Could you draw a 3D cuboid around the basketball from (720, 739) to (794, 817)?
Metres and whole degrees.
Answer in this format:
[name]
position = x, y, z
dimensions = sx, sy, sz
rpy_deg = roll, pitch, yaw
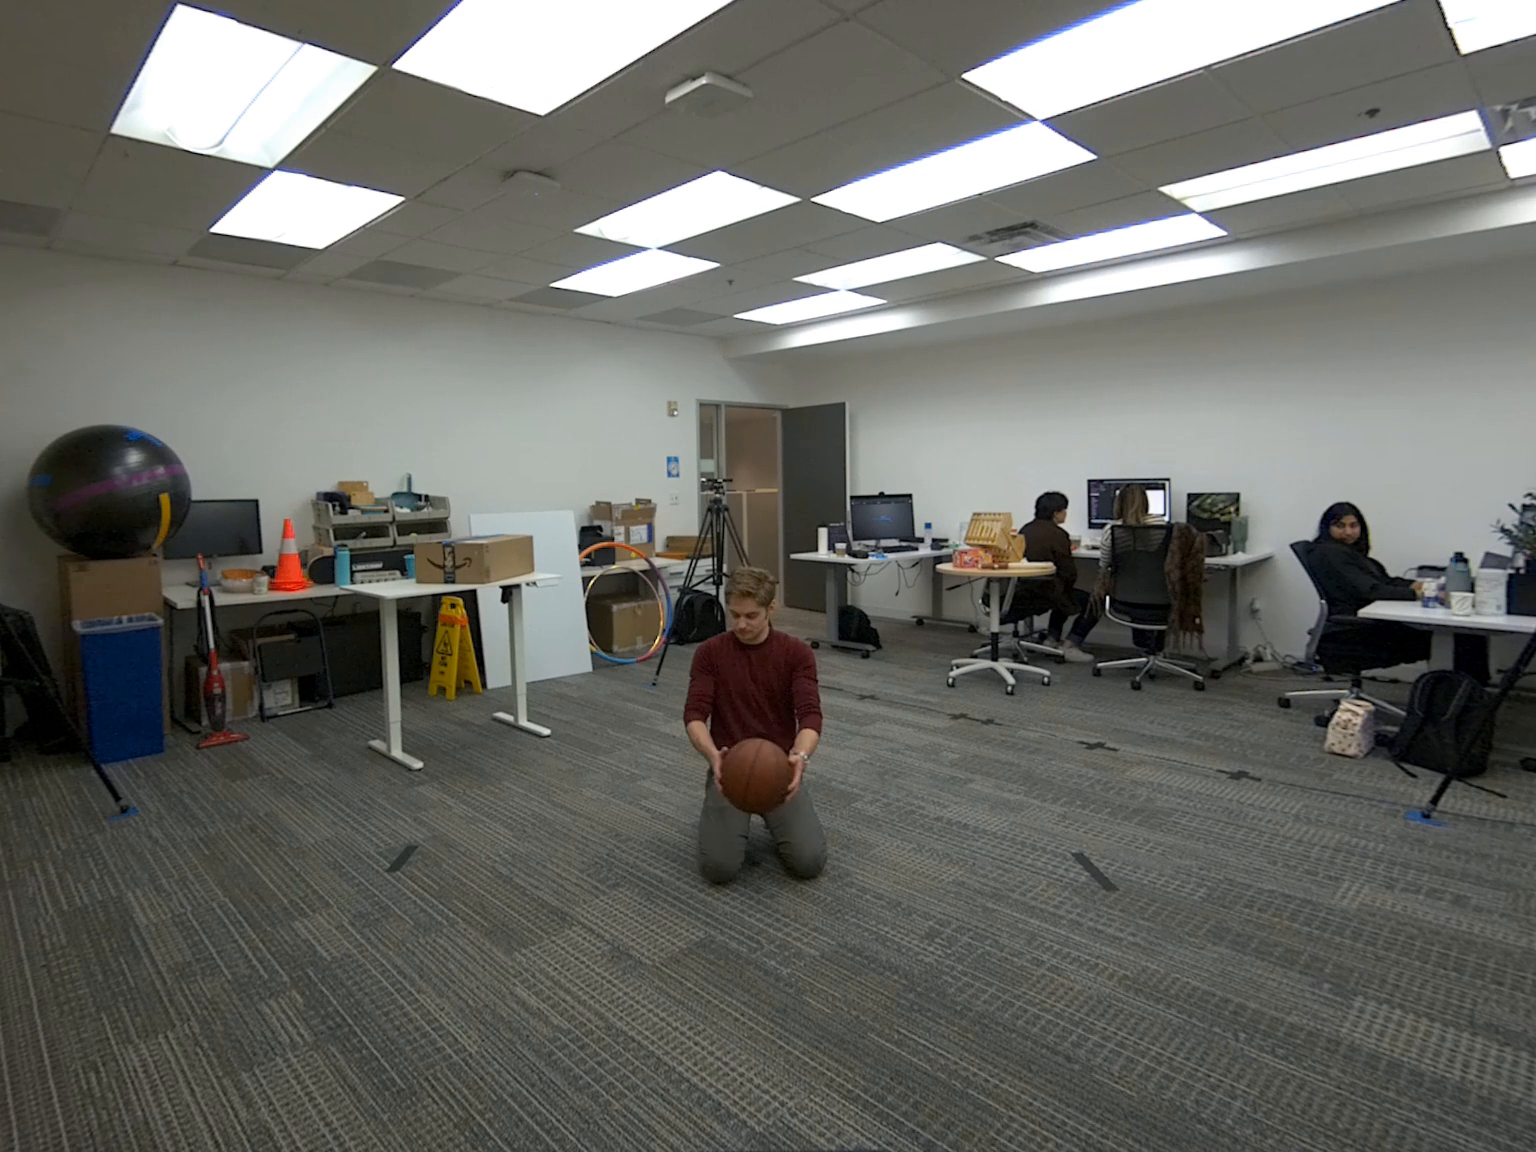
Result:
[basketball]
position = -0.039, 0.659, 2.817
dimensions = 0.236, 0.235, 0.237
rpy_deg = -1, 5, -2
